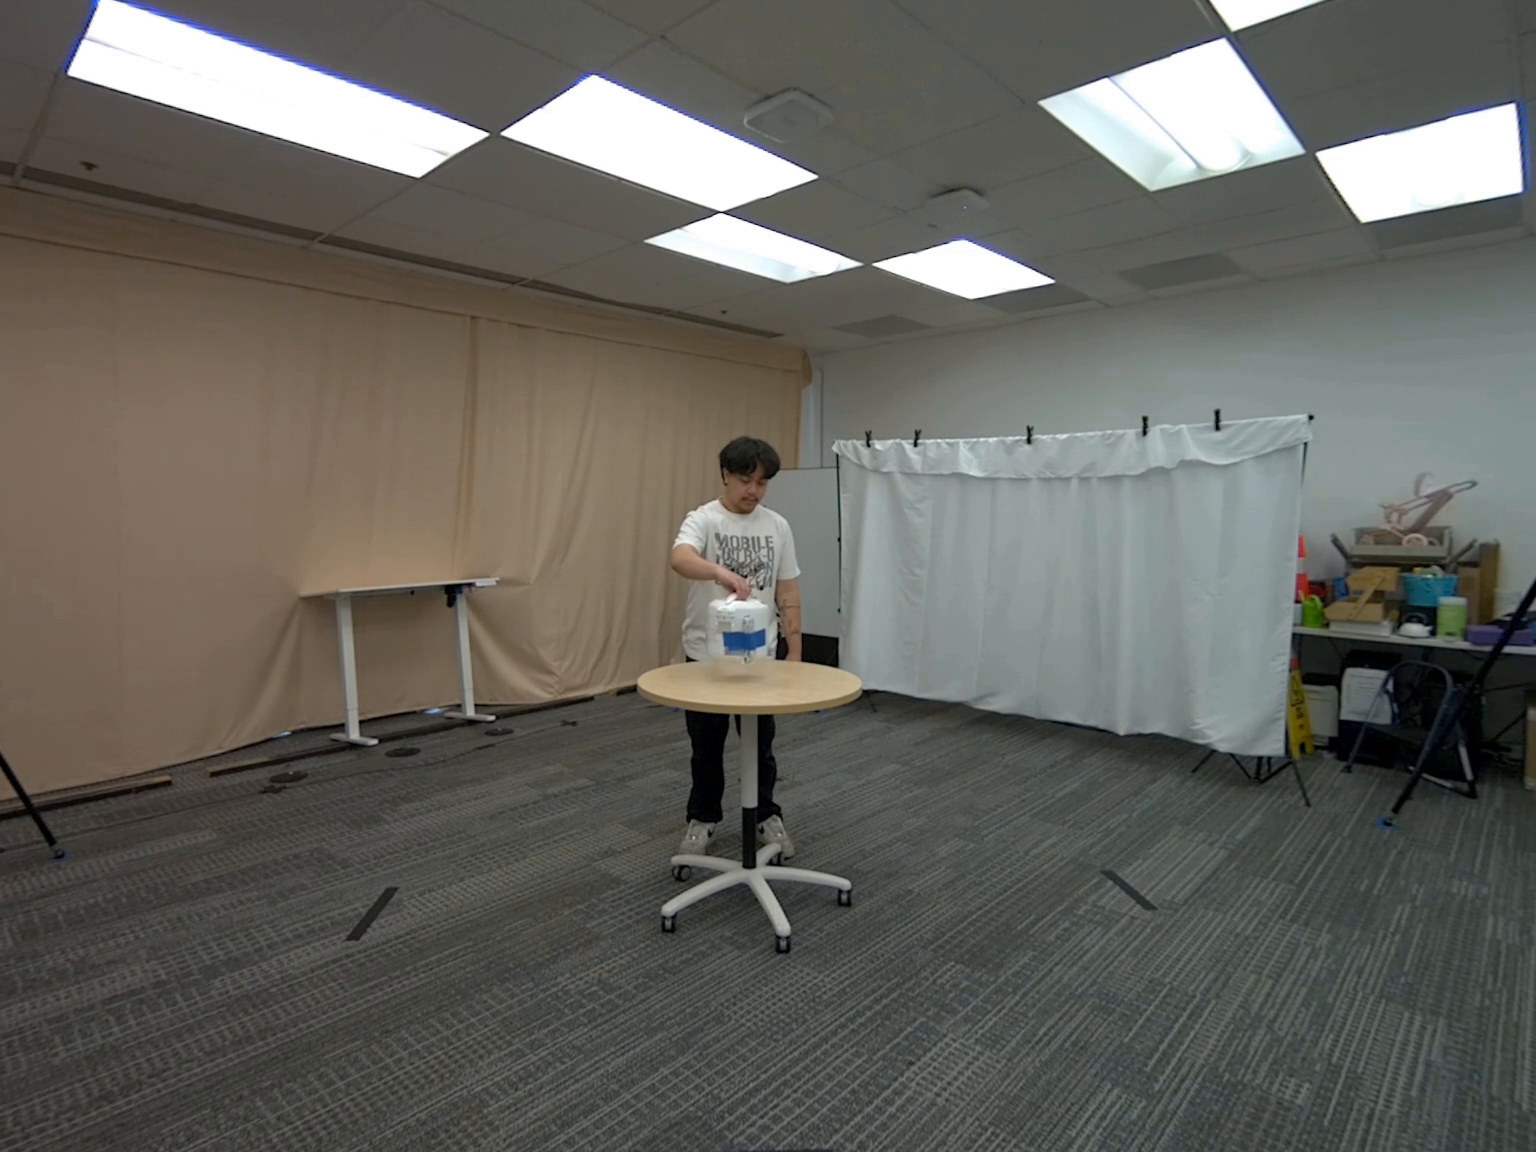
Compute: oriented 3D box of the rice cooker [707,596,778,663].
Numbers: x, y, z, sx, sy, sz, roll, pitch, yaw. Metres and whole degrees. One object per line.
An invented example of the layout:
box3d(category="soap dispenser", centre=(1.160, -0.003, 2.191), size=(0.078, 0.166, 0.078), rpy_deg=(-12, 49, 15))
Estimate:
box3d(category="rice cooker", centre=(-0.105, 0.171, 2.873), size=(0.223, 0.232, 0.215), rpy_deg=(2, 3, 24))
